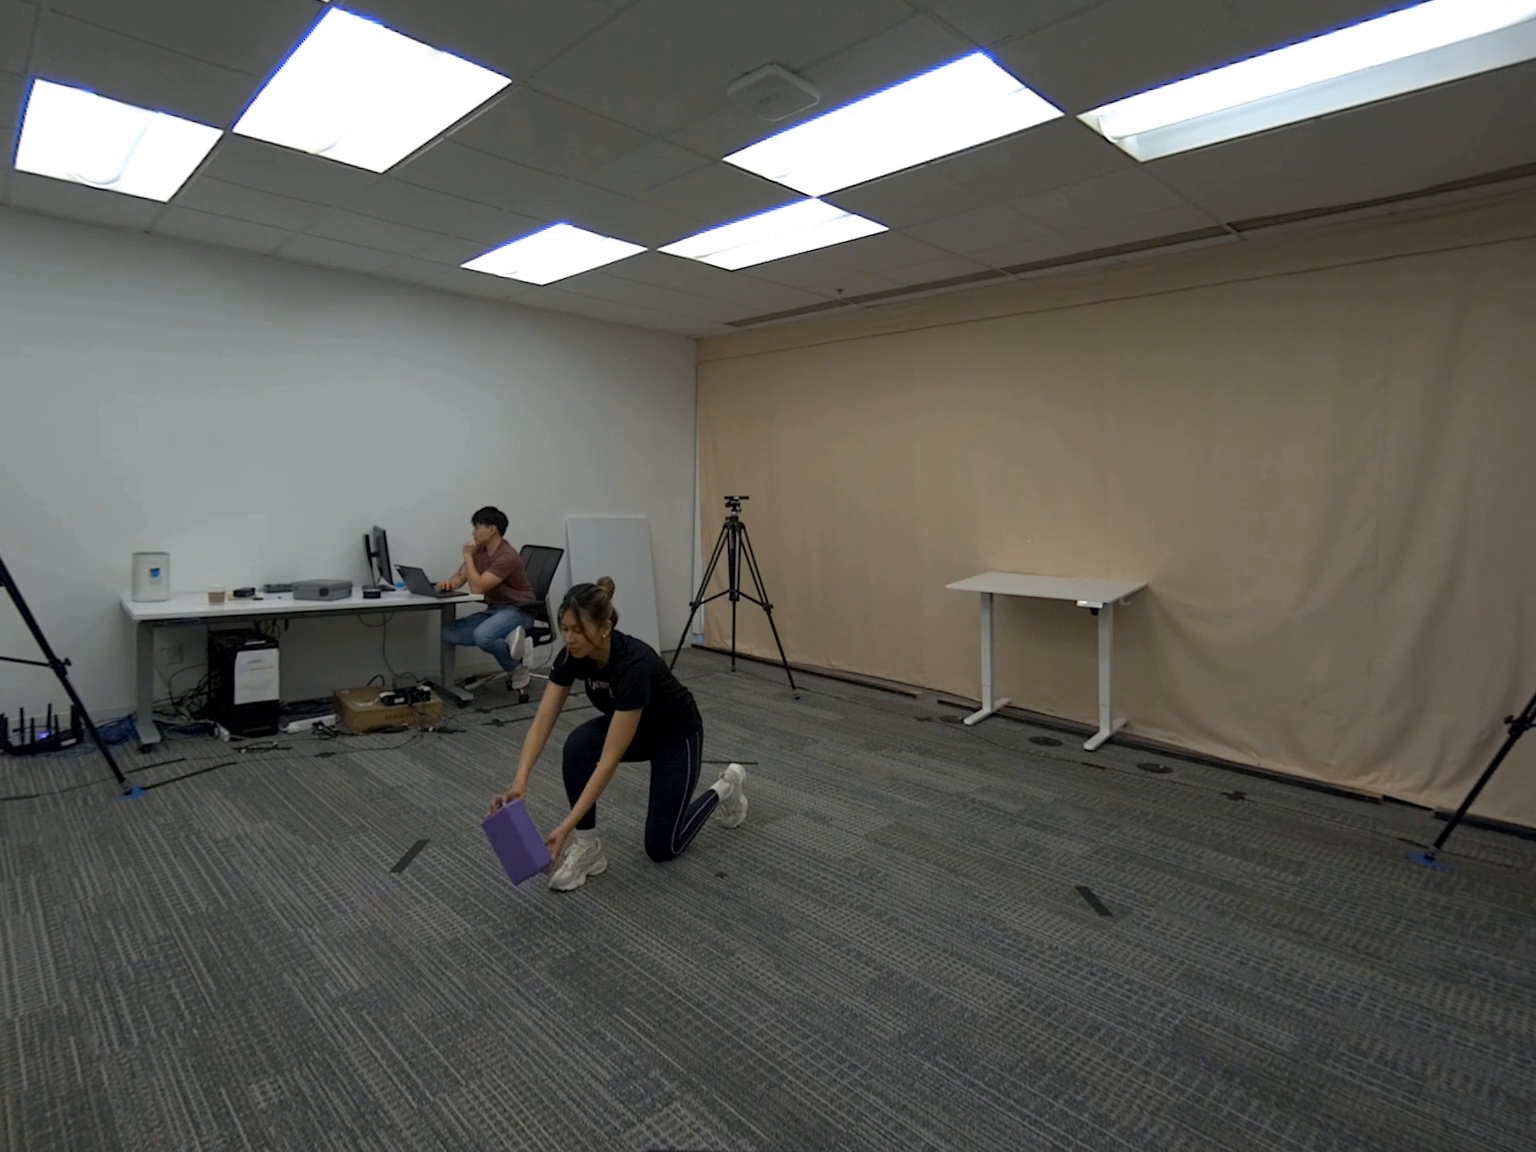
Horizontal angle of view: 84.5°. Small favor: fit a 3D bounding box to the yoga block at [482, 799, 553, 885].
[{"bbox_3d":[-0.802,0.843,2.650,0.150,0.231,0.075,-36,-10,30],"label":"yoga block"}]
